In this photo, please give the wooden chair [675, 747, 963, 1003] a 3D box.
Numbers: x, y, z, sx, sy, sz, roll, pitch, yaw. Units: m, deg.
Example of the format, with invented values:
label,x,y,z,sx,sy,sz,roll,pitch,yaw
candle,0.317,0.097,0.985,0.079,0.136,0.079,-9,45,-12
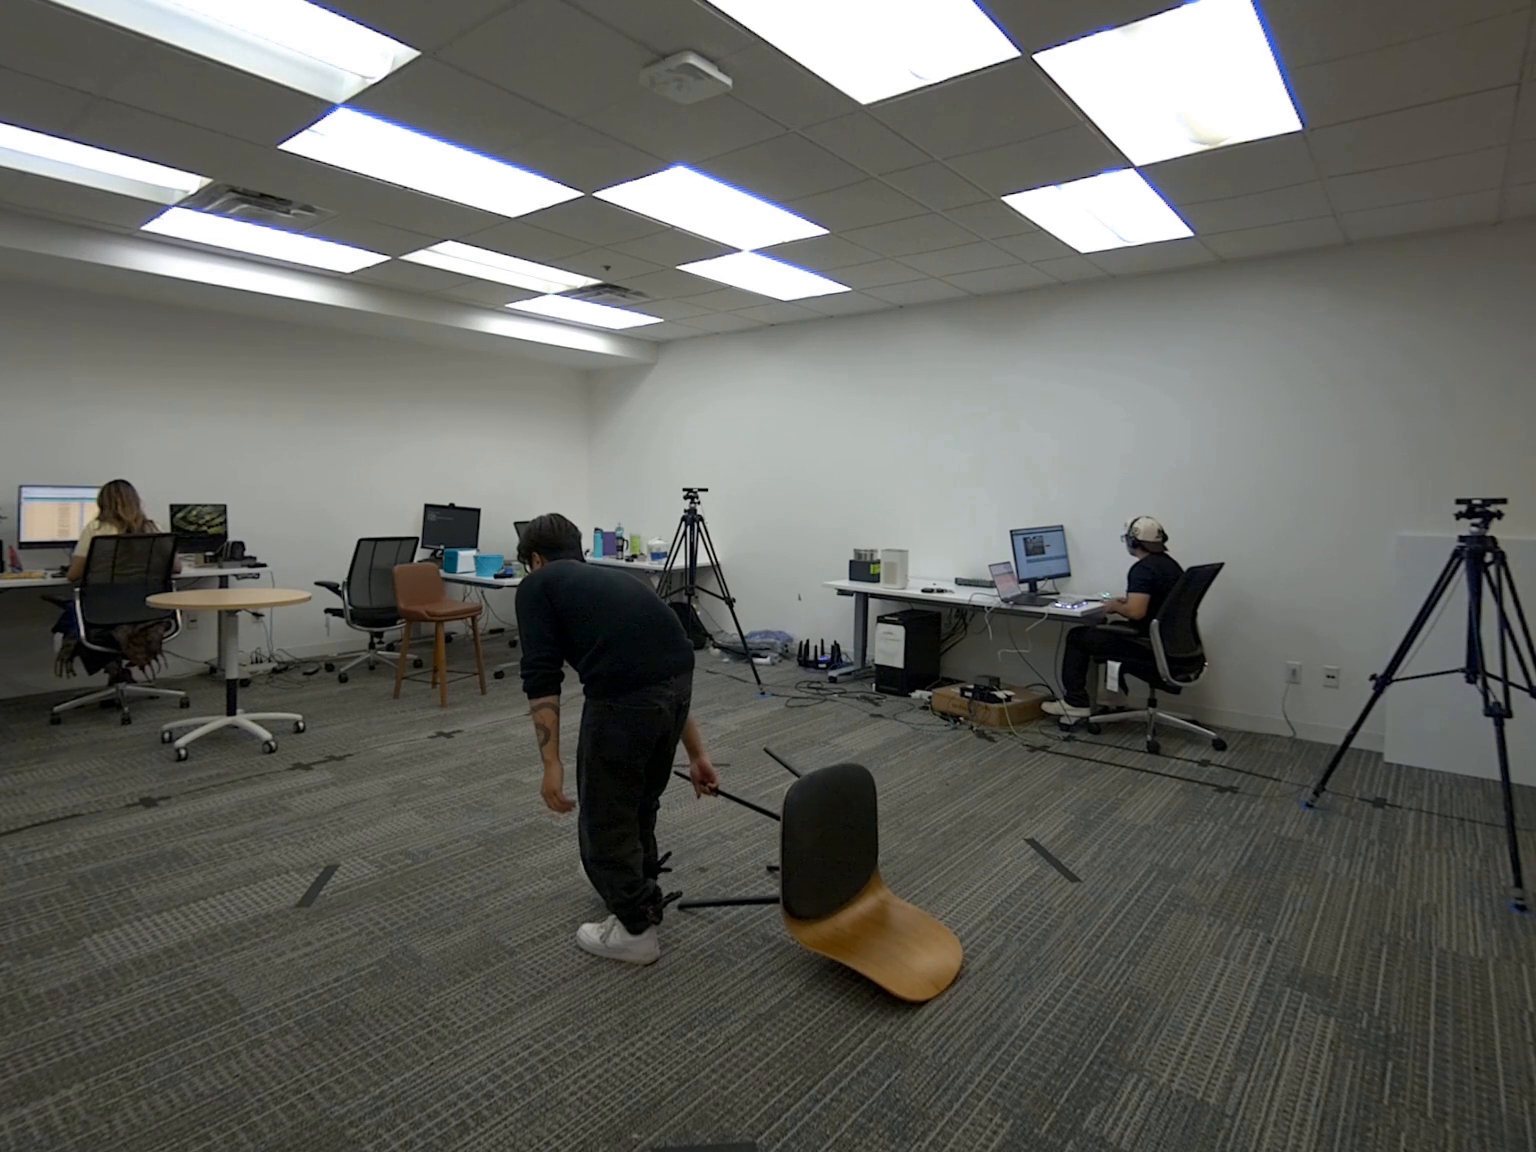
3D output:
label,x,y,z,sx,sy,sz,roll,pitch,yaw
wooden chair,0.150,0.866,2.652,0.463,0.521,0.908,-3,7,-45
